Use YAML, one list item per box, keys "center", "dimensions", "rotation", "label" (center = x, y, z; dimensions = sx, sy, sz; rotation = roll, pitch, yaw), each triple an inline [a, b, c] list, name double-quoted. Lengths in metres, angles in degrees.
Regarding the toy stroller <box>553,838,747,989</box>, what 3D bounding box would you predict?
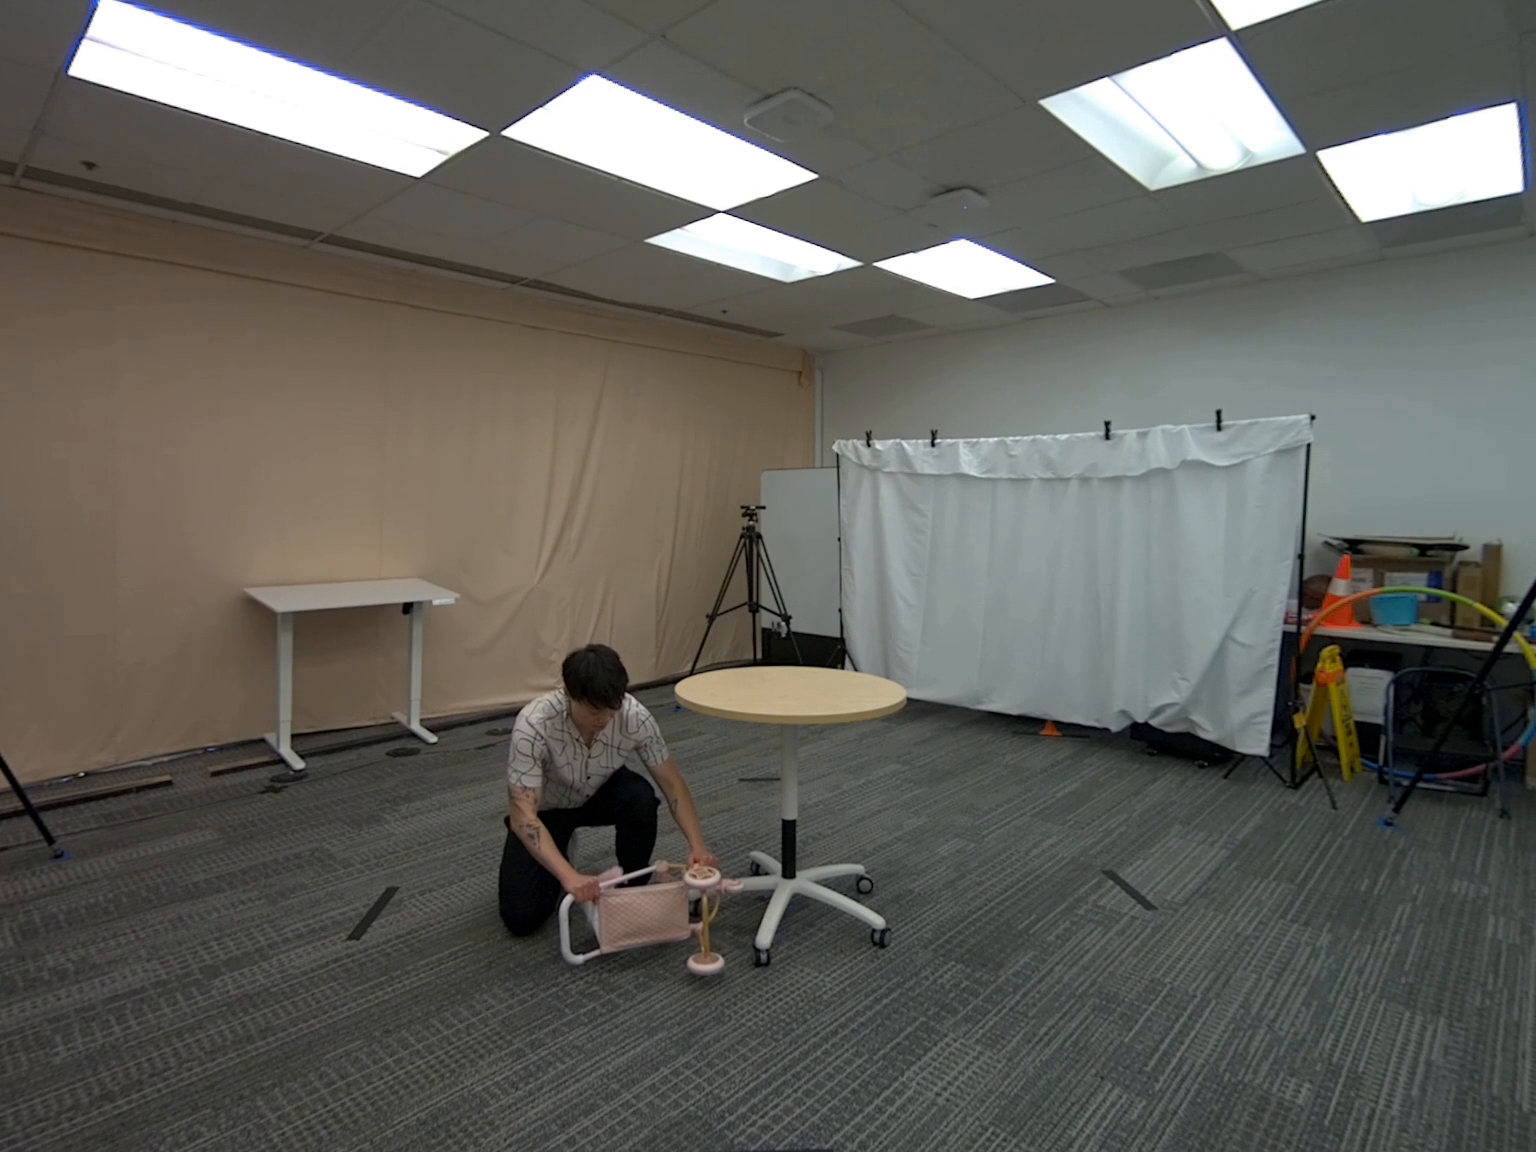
- center: [-0.341, 1.007, 2.562]
  dimensions: [0.536, 0.281, 0.341]
  rotation: [-2, 5, 2]
  label: "toy stroller"
